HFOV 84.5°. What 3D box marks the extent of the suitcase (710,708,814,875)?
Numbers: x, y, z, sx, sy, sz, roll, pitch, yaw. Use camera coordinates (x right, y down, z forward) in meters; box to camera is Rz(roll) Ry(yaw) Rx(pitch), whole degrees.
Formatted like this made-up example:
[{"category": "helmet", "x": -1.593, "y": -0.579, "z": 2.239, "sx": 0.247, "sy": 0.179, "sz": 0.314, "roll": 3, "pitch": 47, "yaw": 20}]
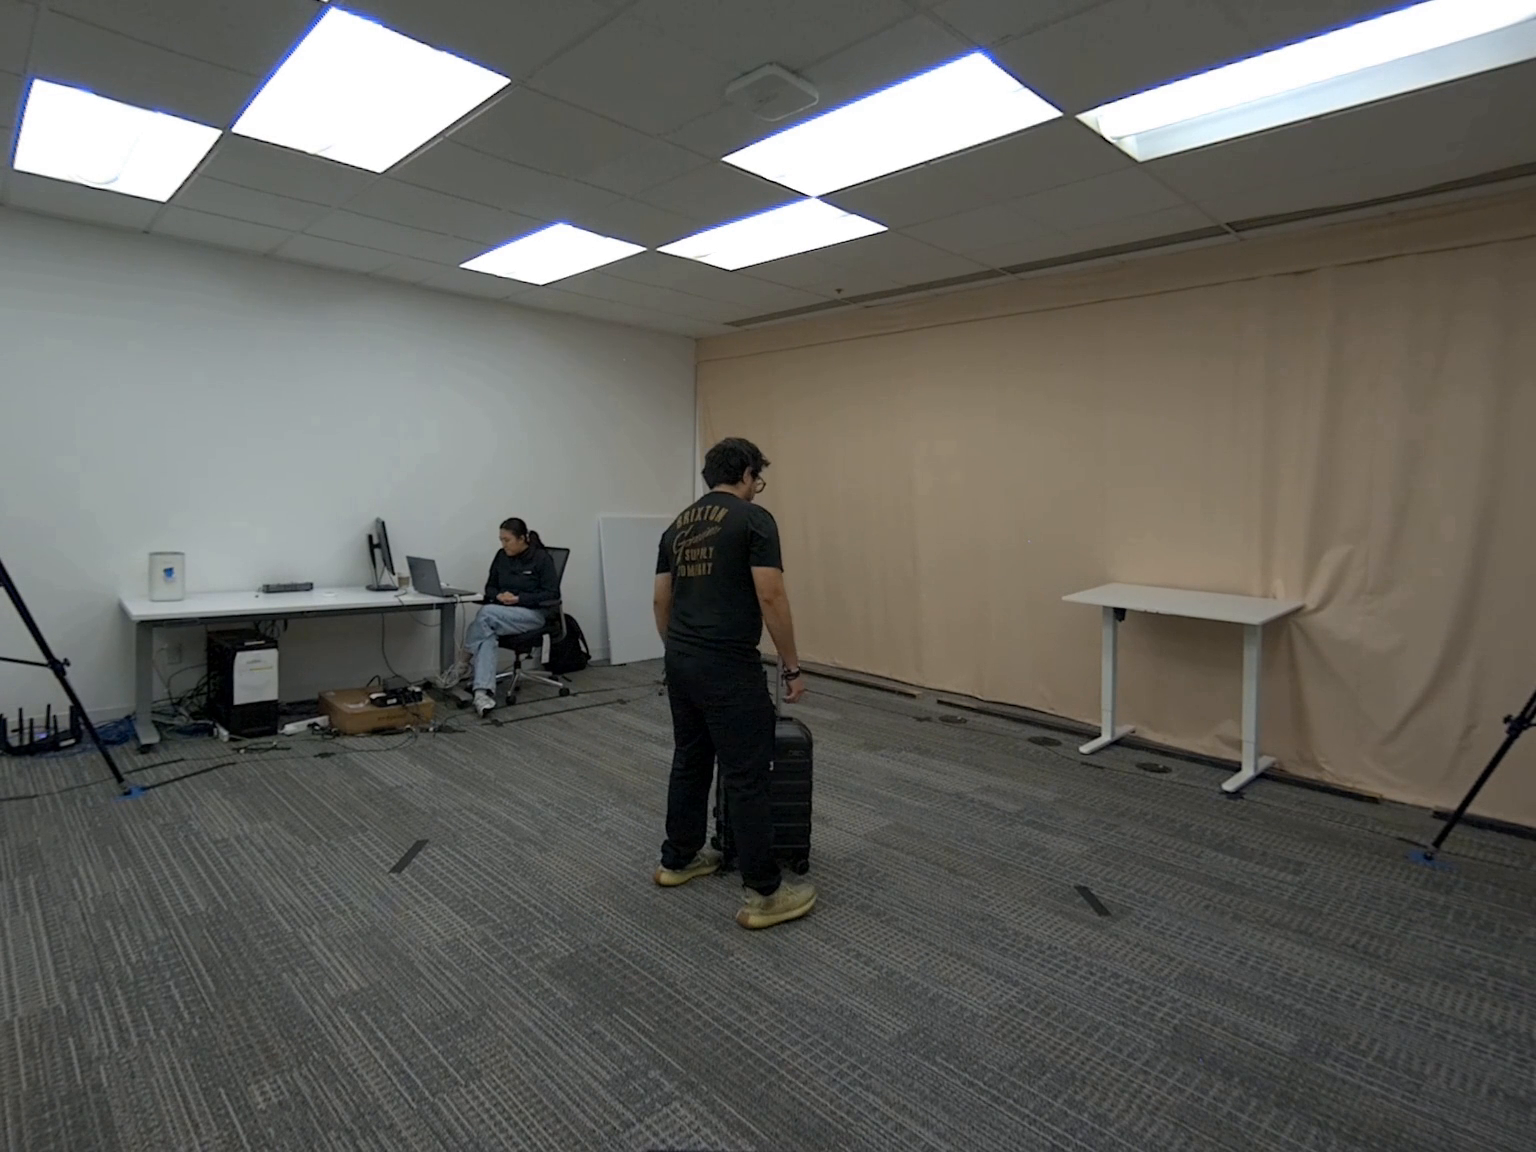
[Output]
[{"category": "suitcase", "x": -0.006, "y": 0.619, "z": 3.208, "sx": 0.382, "sy": 0.976, "sz": 0.259, "roll": 2, "pitch": 4, "yaw": -5}]
